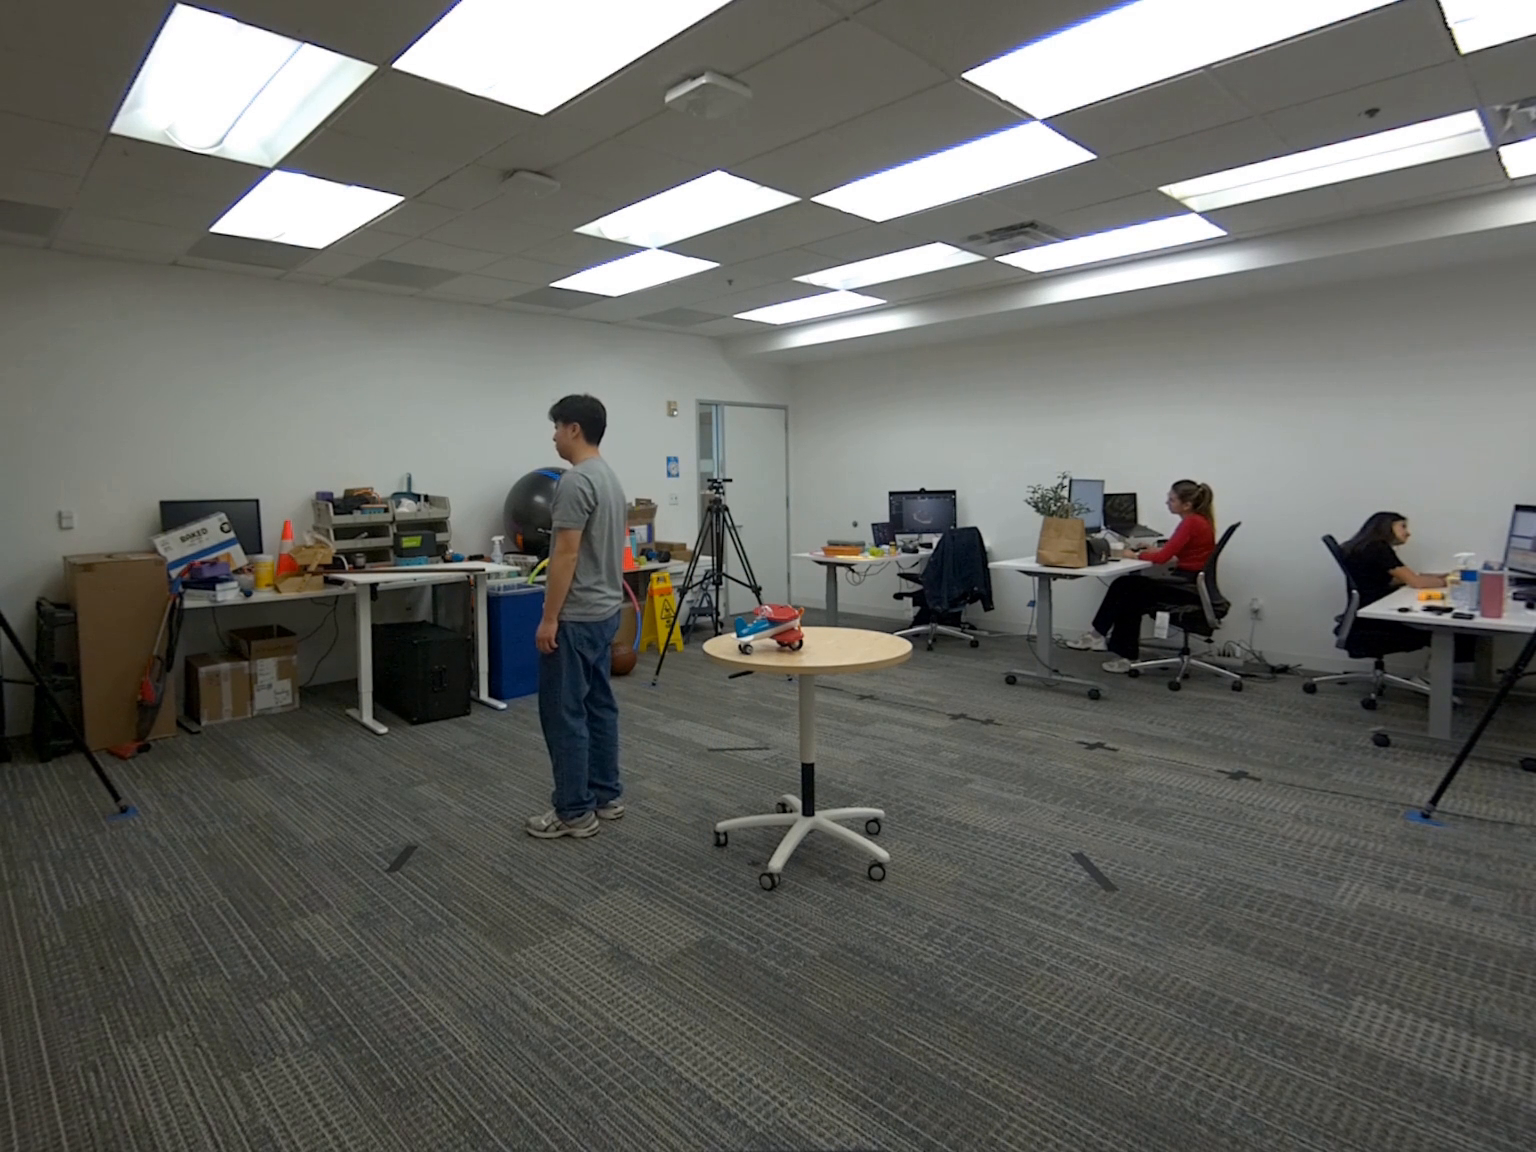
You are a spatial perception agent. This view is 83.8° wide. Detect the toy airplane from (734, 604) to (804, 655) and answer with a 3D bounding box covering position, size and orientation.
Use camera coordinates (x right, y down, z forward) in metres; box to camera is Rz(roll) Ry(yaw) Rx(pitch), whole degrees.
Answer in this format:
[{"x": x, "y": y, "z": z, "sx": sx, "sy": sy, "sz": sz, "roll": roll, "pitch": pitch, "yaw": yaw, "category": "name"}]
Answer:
[{"x": 0.017, "y": 0.193, "z": 3.031, "sx": 0.258, "sy": 0.156, "sz": 0.253, "roll": 2, "pitch": 6, "yaw": 36, "category": "toy airplane"}]
